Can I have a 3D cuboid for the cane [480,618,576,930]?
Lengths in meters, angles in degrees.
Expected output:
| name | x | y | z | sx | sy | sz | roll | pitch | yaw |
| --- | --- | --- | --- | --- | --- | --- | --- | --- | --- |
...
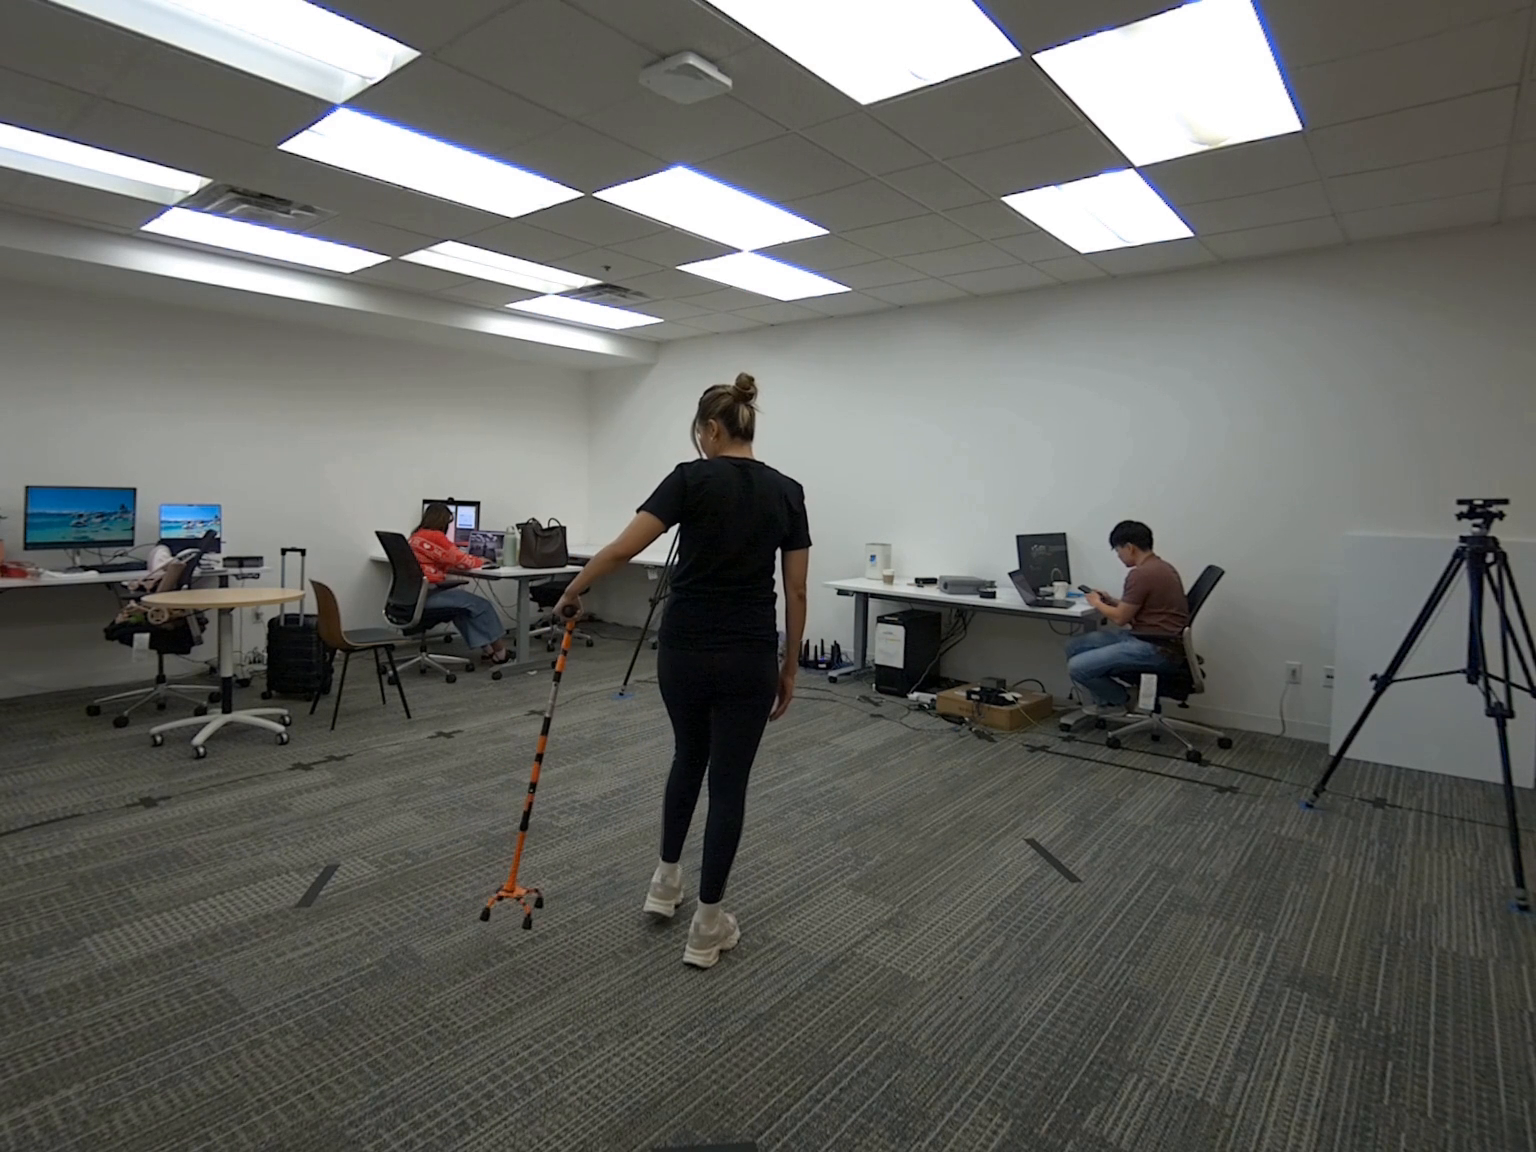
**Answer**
| name | x | y | z | sx | sy | sz | roll | pitch | yaw |
| --- | --- | --- | --- | --- | --- | --- | --- | --- | --- |
| cane | -0.679 | 0.548 | 2.537 | 0.151 | 0.912 | 0.206 | 10 | -6 | -4 |
